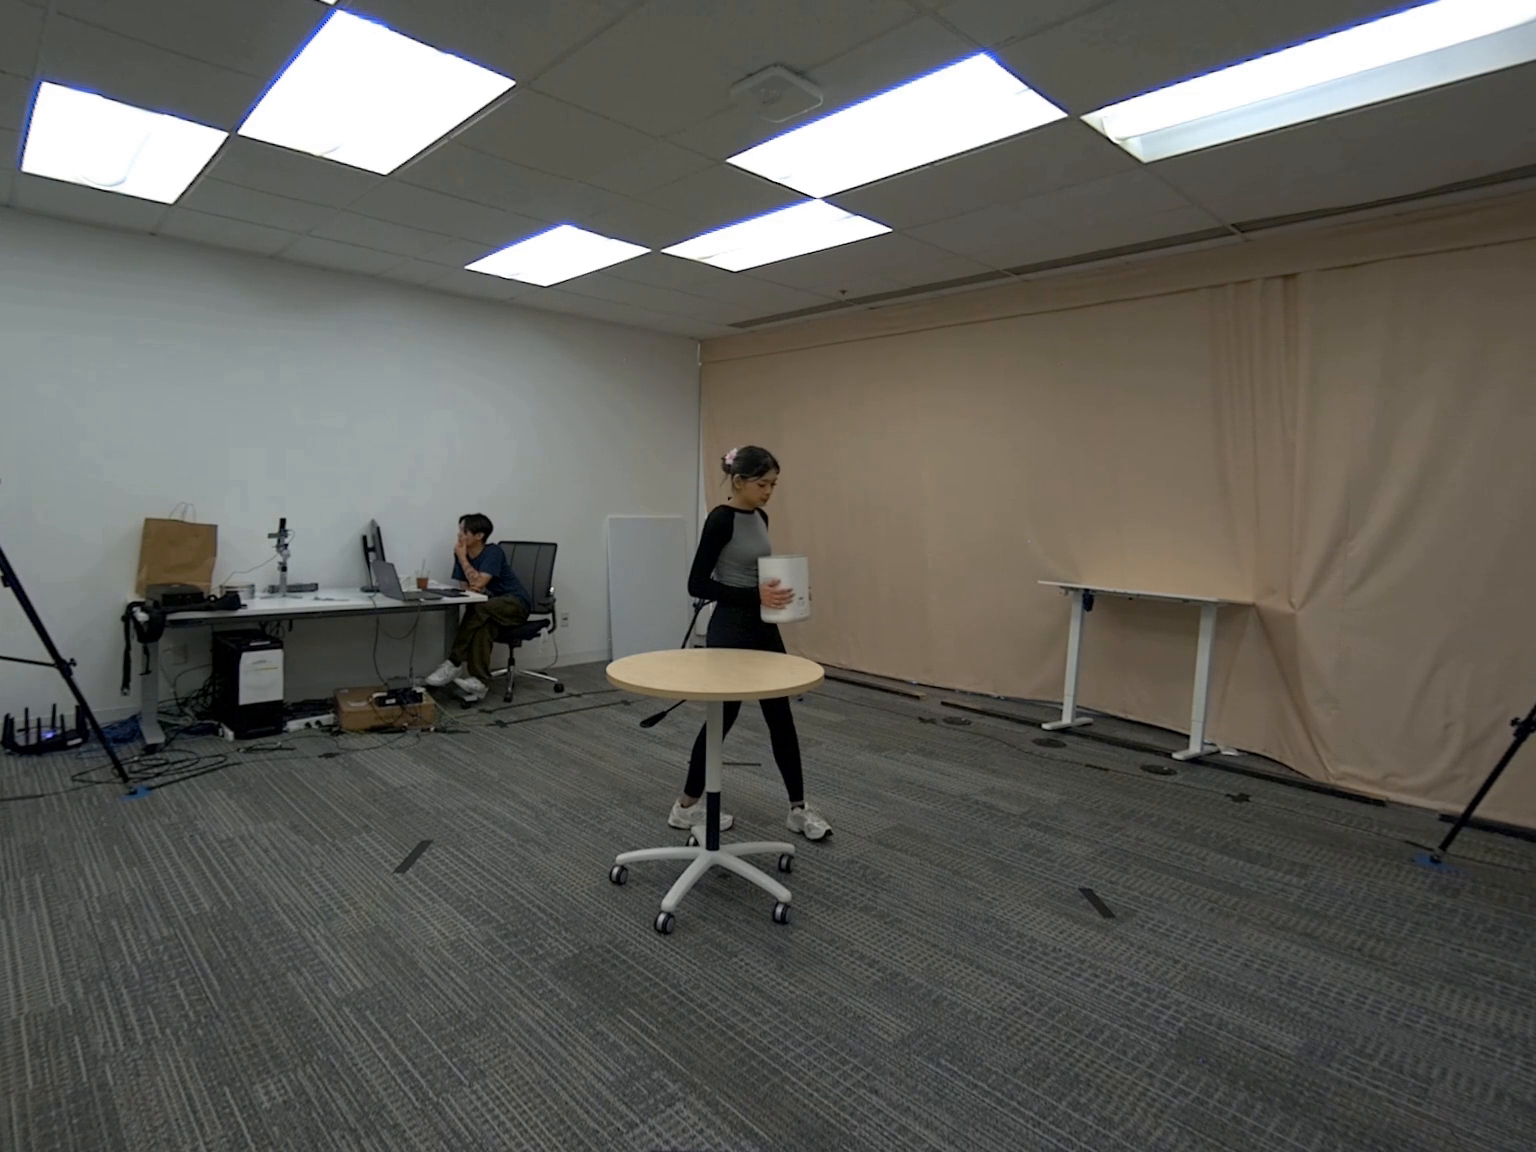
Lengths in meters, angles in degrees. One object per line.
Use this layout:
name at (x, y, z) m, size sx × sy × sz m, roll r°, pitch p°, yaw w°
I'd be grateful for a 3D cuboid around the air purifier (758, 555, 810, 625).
air purifier at (0.057, 0.050, 3.405) m, size 0.175 × 0.265 × 0.167 m, roll -3°, pitch 0°, yaw 41°
